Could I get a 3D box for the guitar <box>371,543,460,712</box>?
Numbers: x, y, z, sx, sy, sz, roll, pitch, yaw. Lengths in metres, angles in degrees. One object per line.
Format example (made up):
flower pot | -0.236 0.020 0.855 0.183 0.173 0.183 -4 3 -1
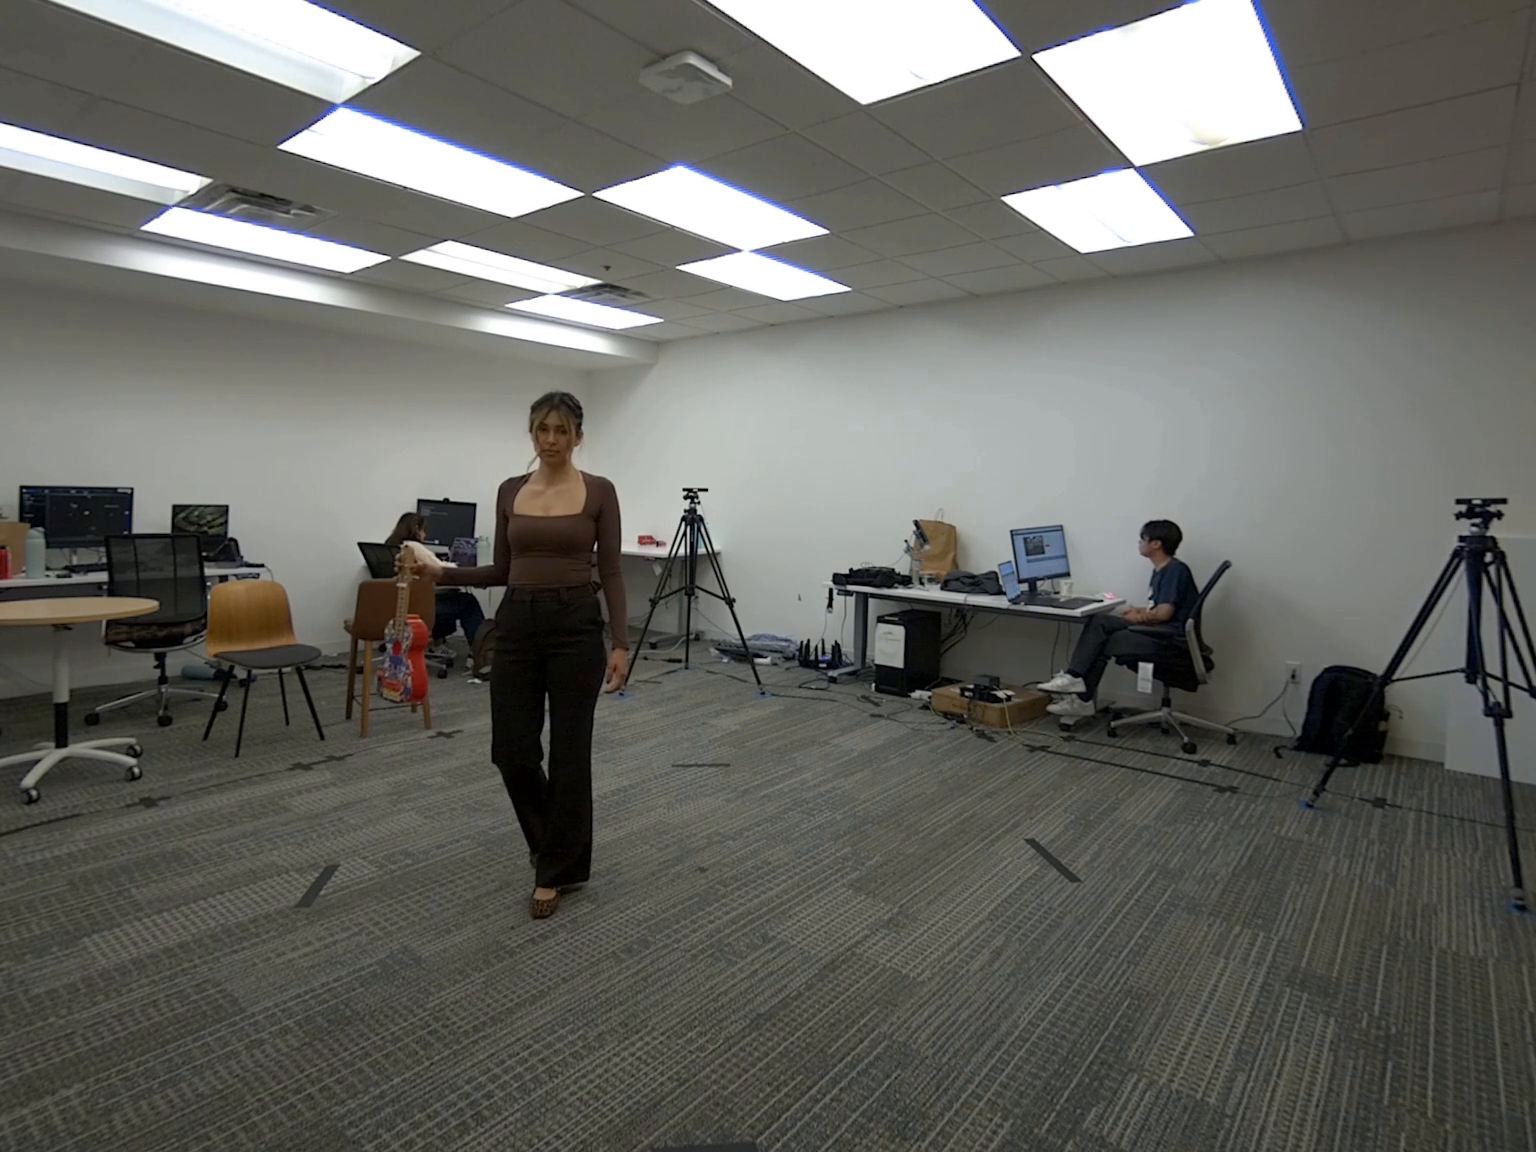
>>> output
guitar | -1.136 0.158 2.701 0.199 0.497 0.068 14 3 30
